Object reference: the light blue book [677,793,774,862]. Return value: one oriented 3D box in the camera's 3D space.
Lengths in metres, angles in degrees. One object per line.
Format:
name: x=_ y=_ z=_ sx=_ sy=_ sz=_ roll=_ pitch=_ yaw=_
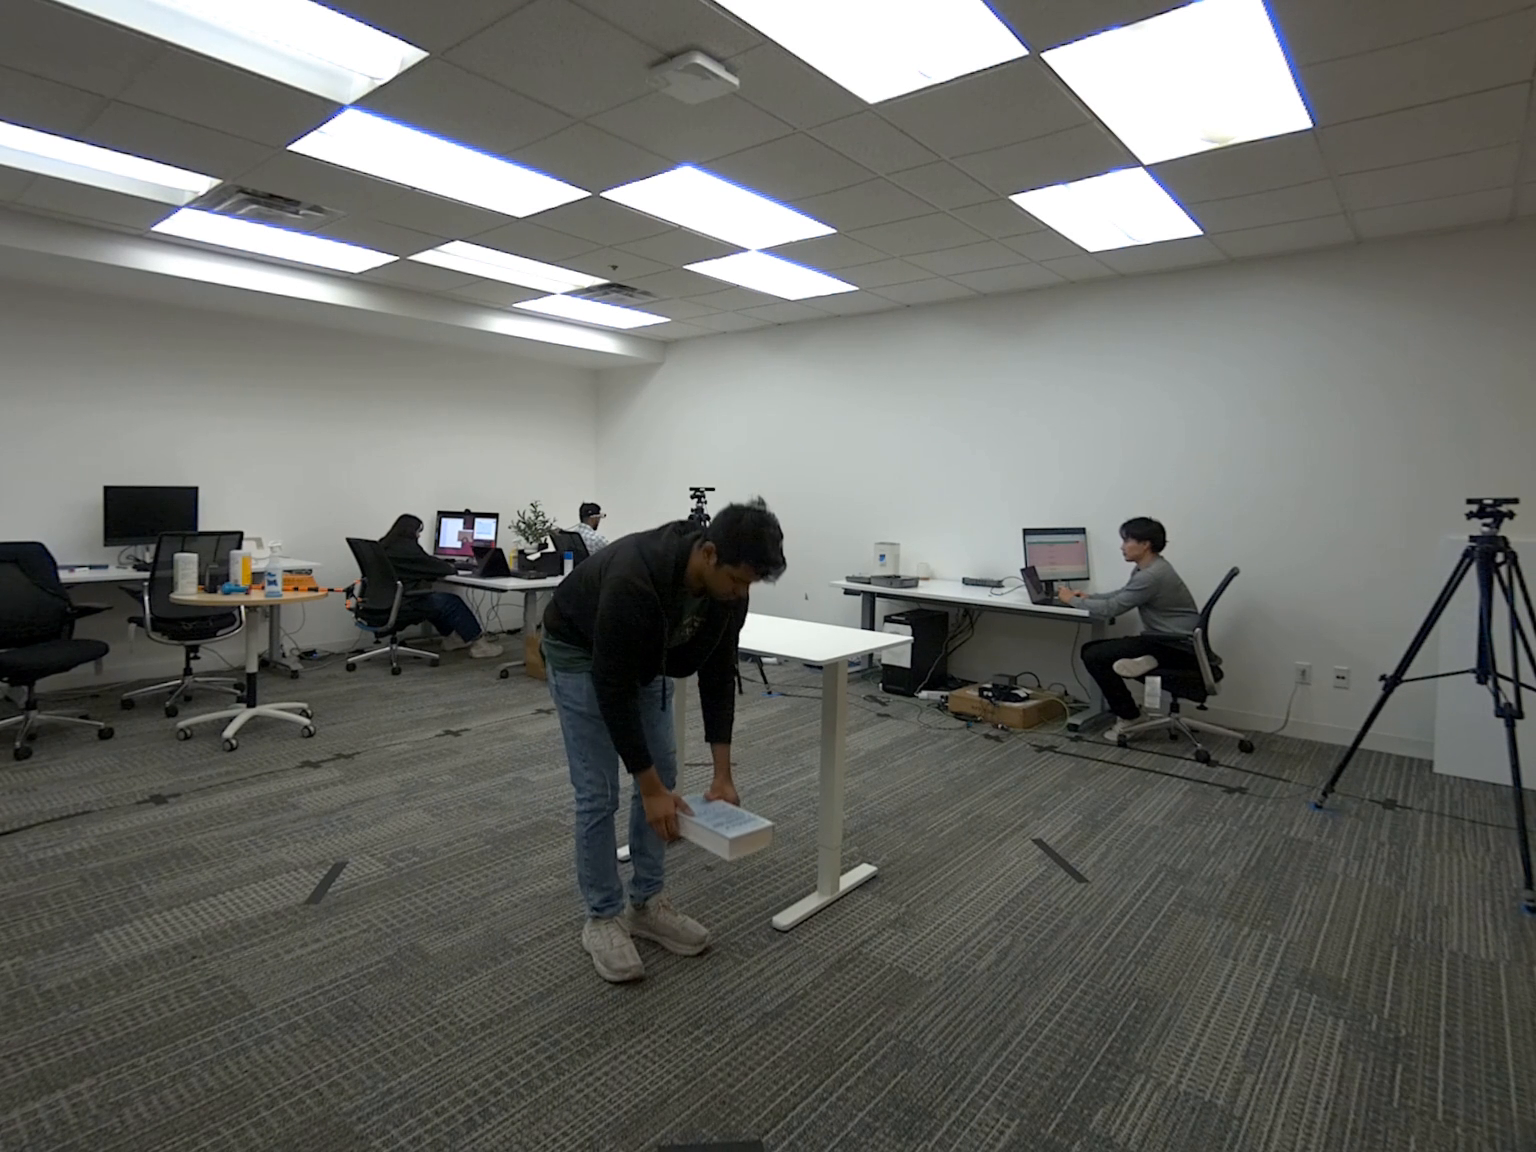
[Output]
light blue book: x=-0.140 y=0.658 z=2.276 sx=0.270 sy=0.059 sz=0.185 roll=10 pitch=7 yaw=39
